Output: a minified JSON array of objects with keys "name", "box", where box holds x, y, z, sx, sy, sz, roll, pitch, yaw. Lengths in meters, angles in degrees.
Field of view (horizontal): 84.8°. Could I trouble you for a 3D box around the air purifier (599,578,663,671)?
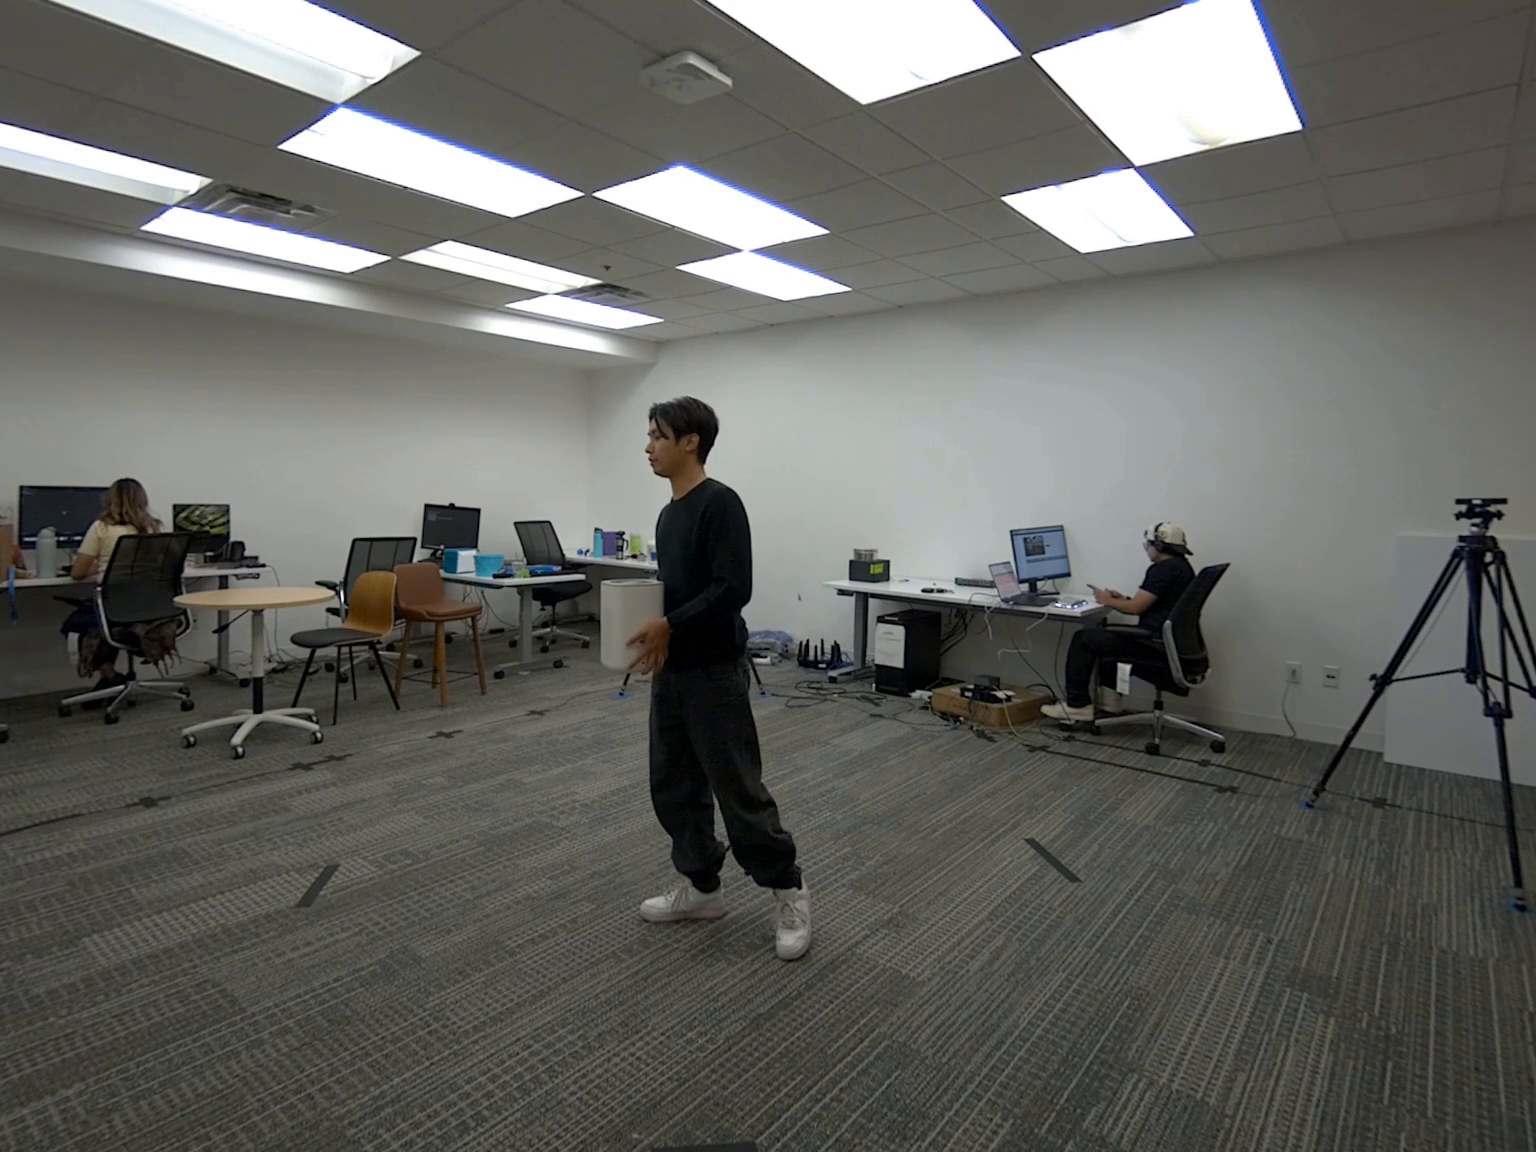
[{"name":"air purifier","box":[-0.429,0.146,2.586,0.167,0.265,0.176,-1,3,-27]}]
